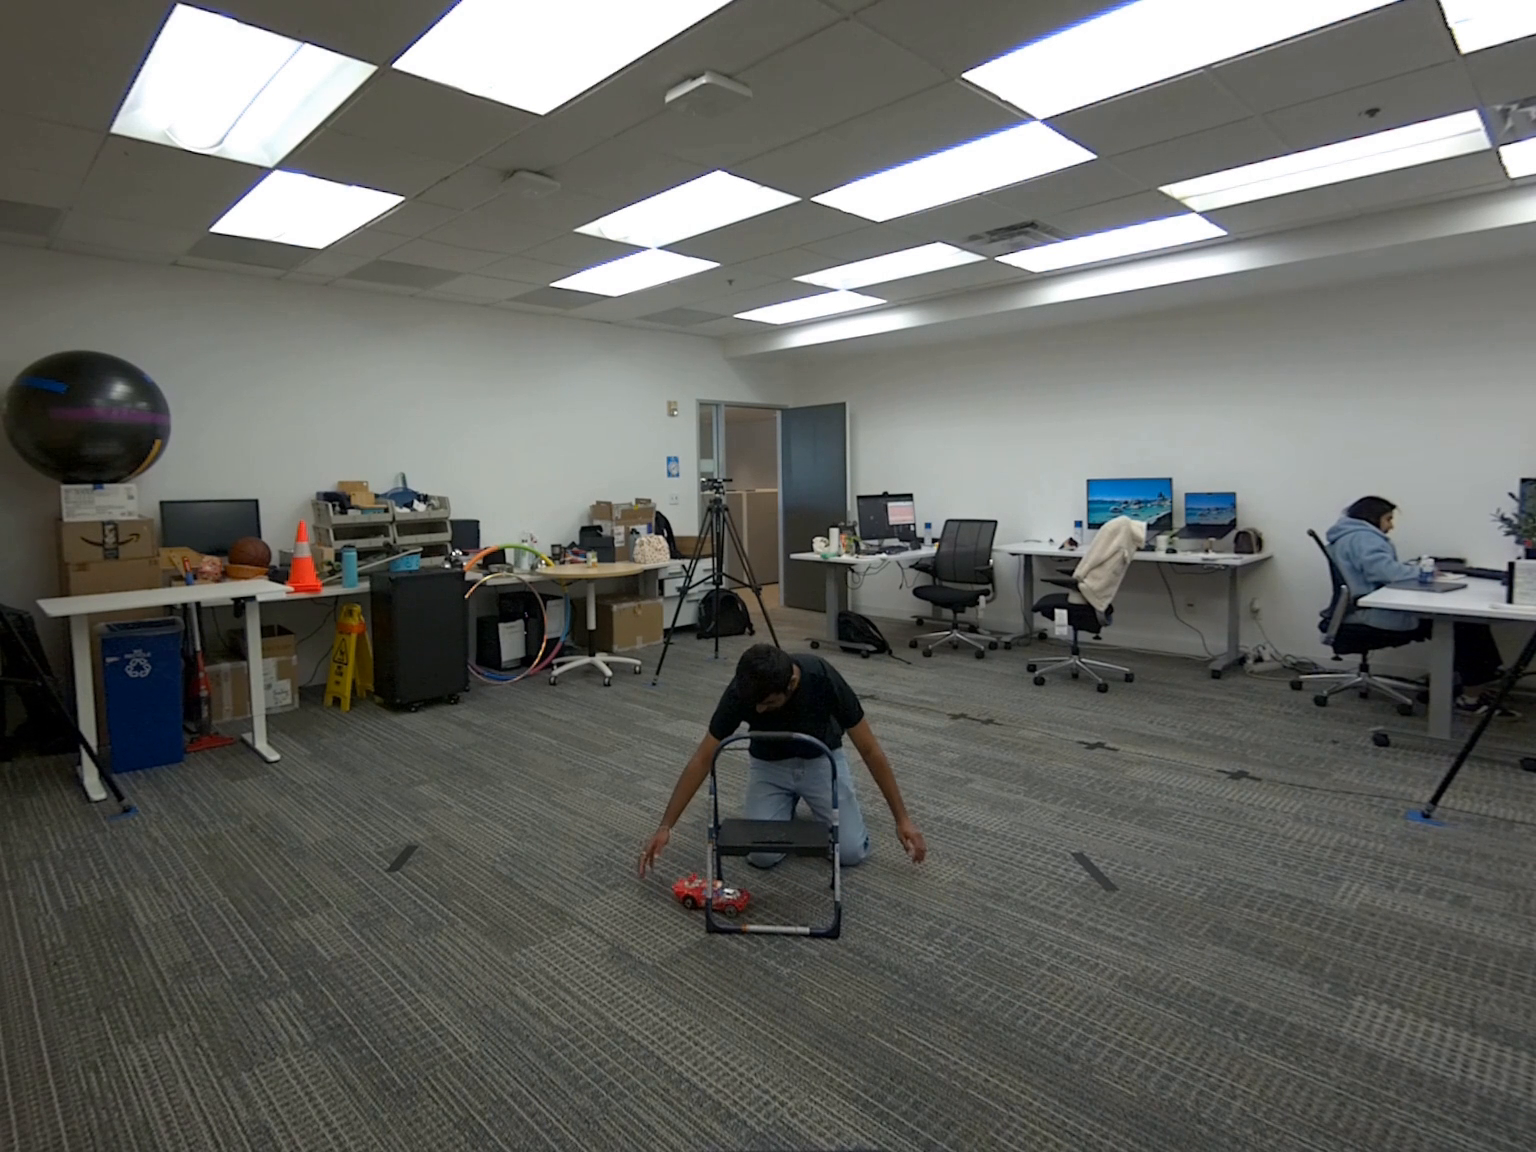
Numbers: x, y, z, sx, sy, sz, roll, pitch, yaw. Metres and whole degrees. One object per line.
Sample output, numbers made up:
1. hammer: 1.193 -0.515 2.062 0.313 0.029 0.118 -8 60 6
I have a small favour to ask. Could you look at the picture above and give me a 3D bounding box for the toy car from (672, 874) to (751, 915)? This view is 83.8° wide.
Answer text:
1. toy car: -0.182 1.054 2.801 0.259 0.083 0.129 11 9 16
